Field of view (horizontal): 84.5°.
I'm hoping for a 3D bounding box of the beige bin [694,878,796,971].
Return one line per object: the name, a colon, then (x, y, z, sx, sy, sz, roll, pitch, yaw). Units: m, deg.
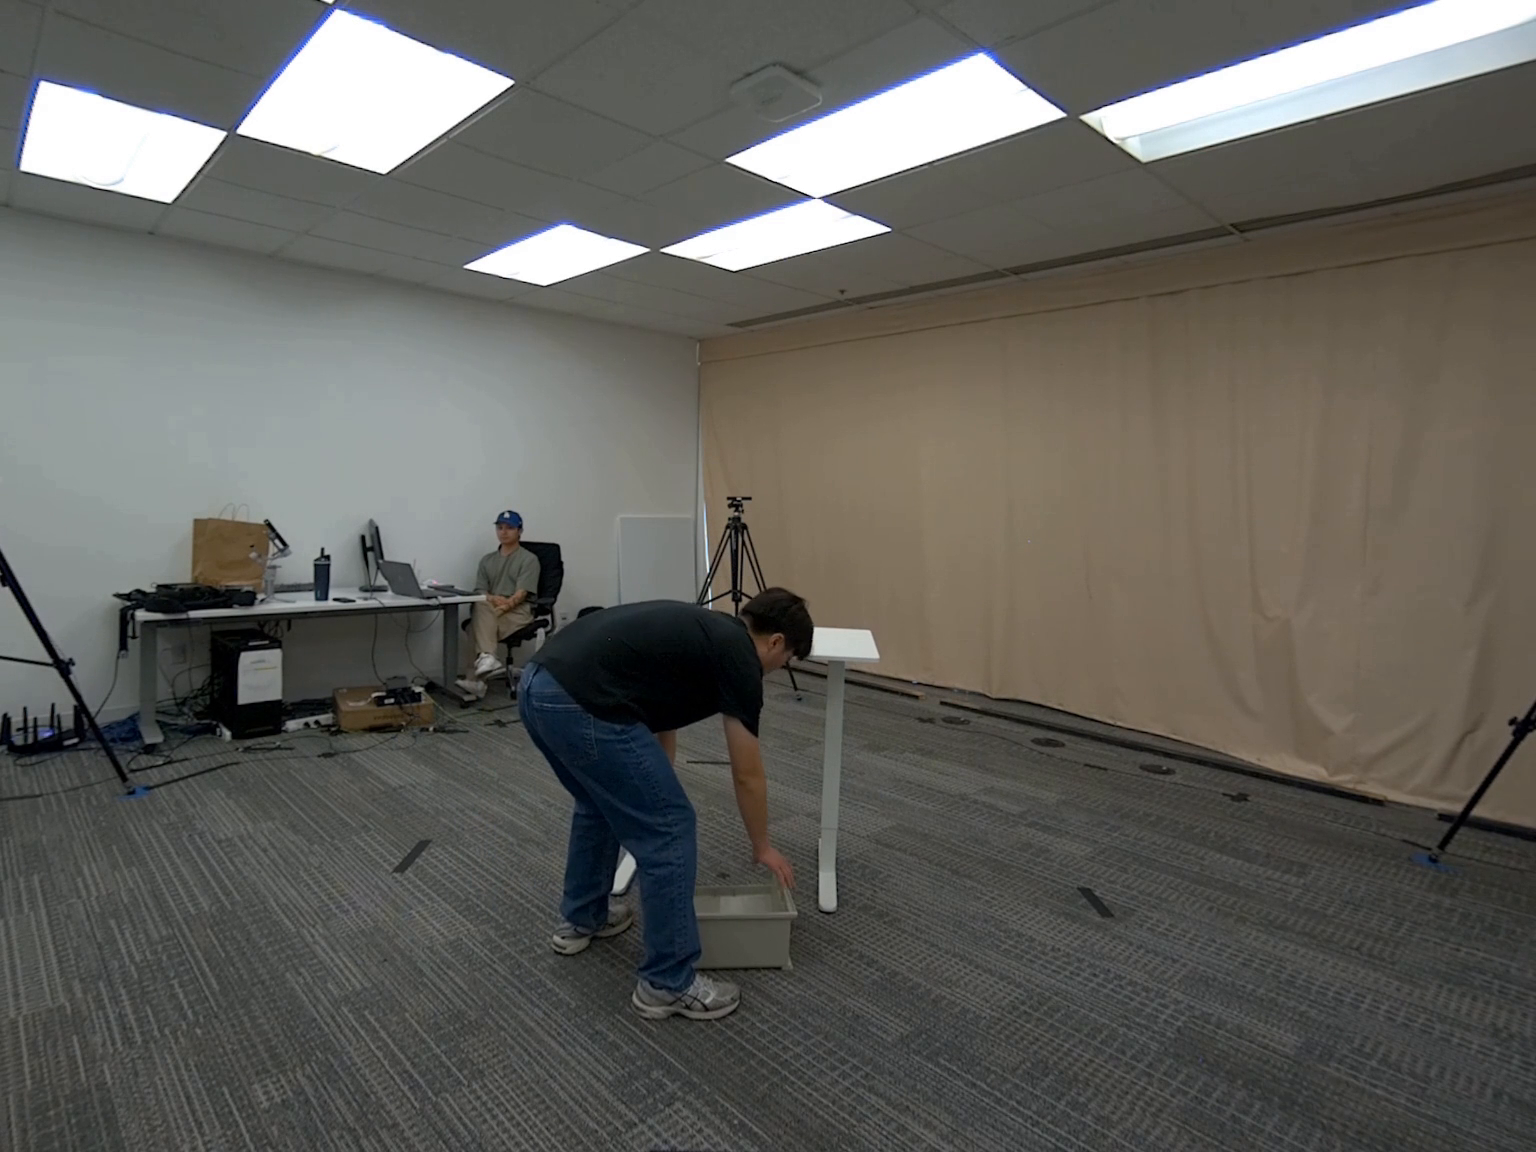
beige bin: (-0.153, 1.062, 2.645, 0.420, 0.188, 0.380, 2, 6, -6)
